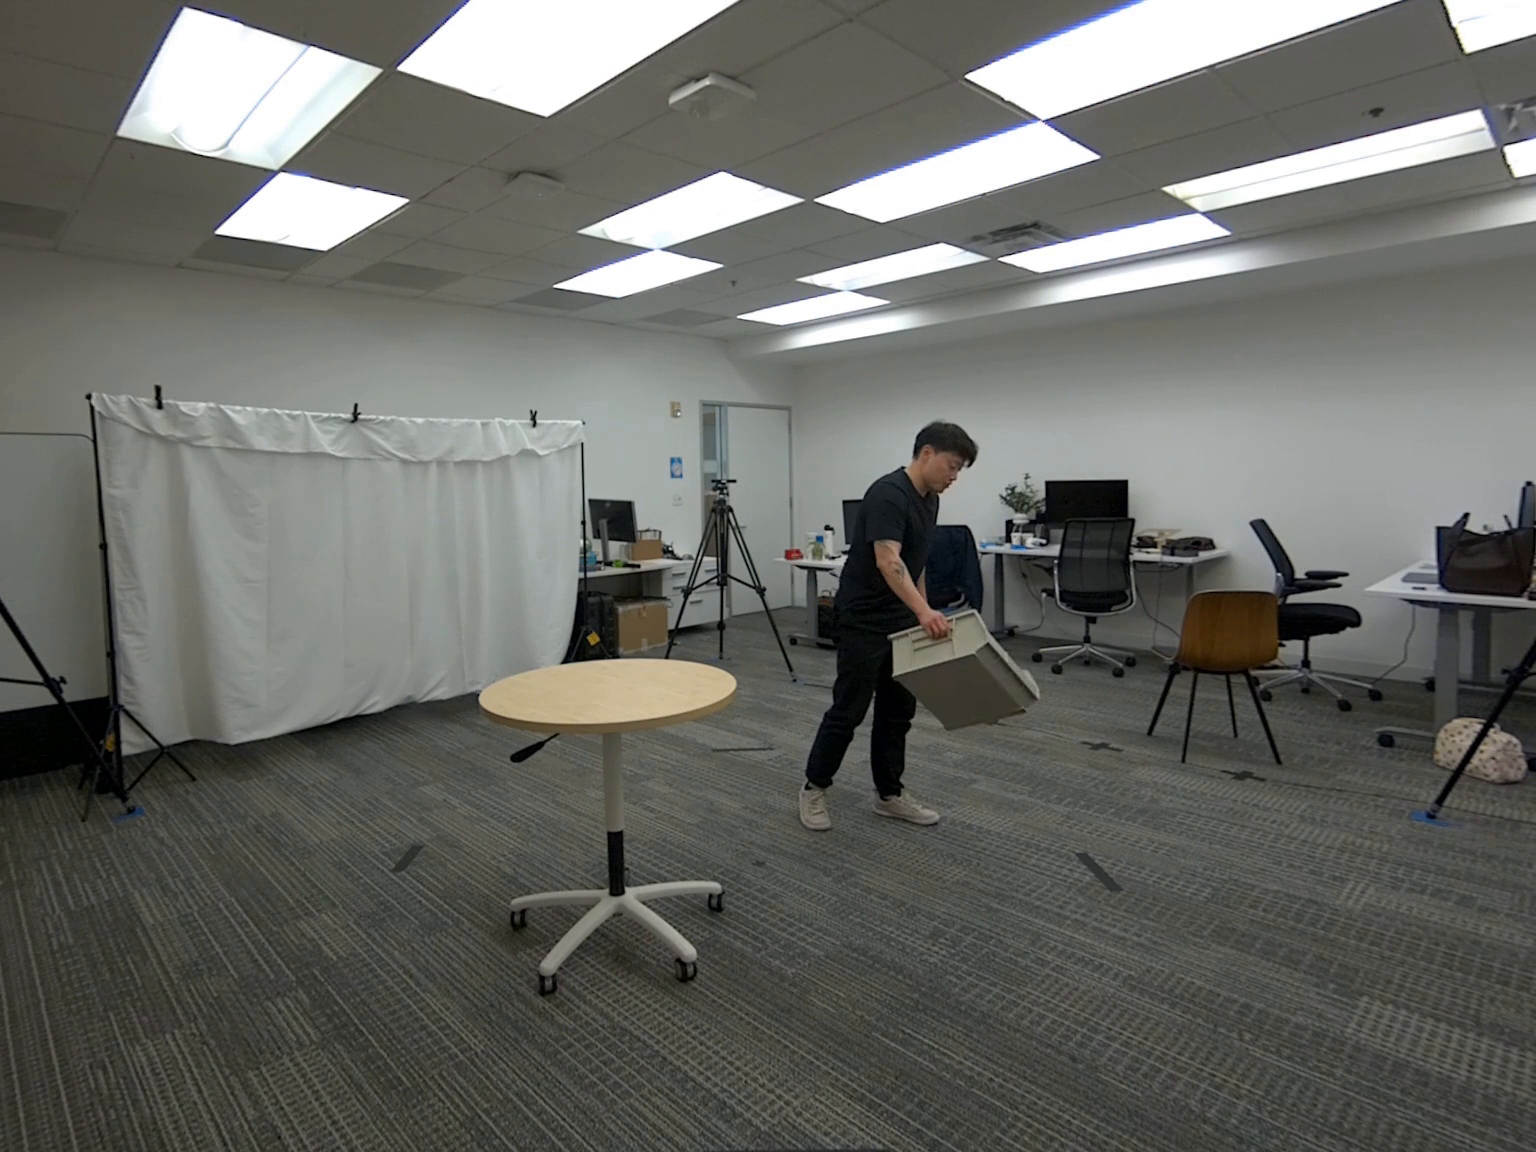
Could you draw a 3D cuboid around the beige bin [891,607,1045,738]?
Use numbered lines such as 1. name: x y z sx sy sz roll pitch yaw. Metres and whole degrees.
1. beige bin: 0.709 0.357 3.076 0.383 0.193 0.407 -22 -50 31
